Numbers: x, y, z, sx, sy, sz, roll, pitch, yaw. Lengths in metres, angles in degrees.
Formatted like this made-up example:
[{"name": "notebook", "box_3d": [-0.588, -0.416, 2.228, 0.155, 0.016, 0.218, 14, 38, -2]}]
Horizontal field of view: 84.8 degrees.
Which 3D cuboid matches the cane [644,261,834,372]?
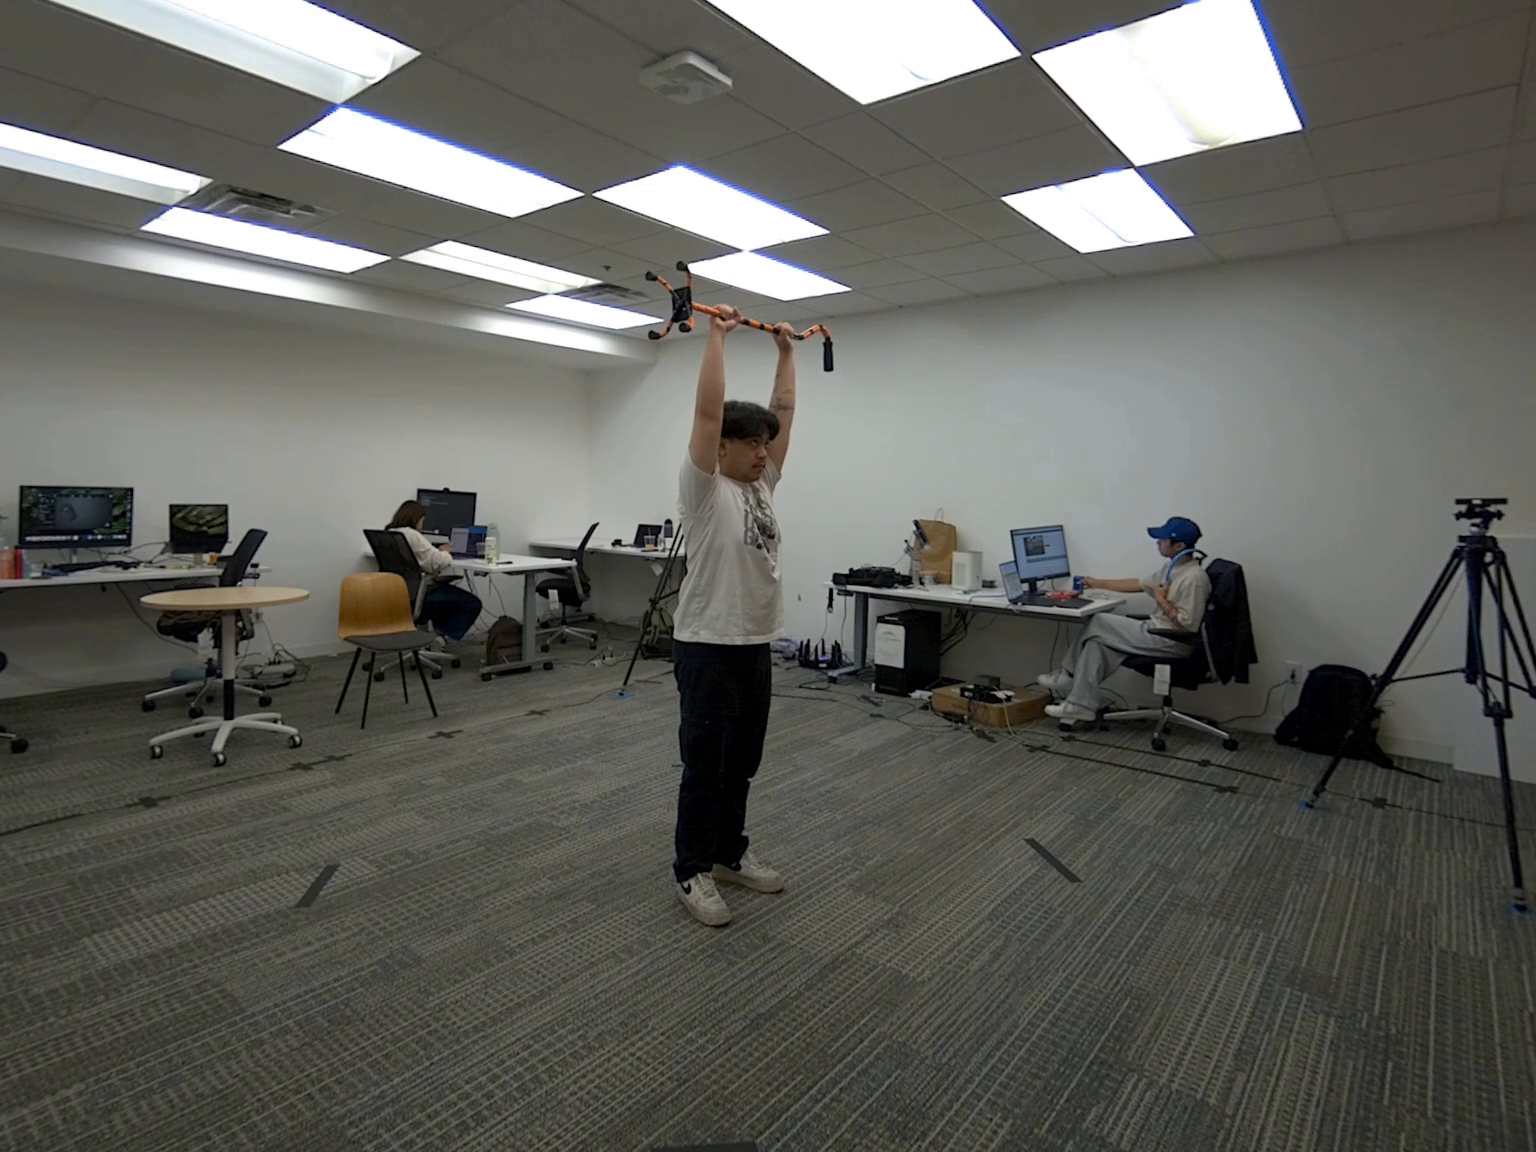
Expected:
[{"name": "cane", "box_3d": [-0.035, -0.837, 2.834, 0.156, 0.206, 0.882, -1, 3, 36]}]
